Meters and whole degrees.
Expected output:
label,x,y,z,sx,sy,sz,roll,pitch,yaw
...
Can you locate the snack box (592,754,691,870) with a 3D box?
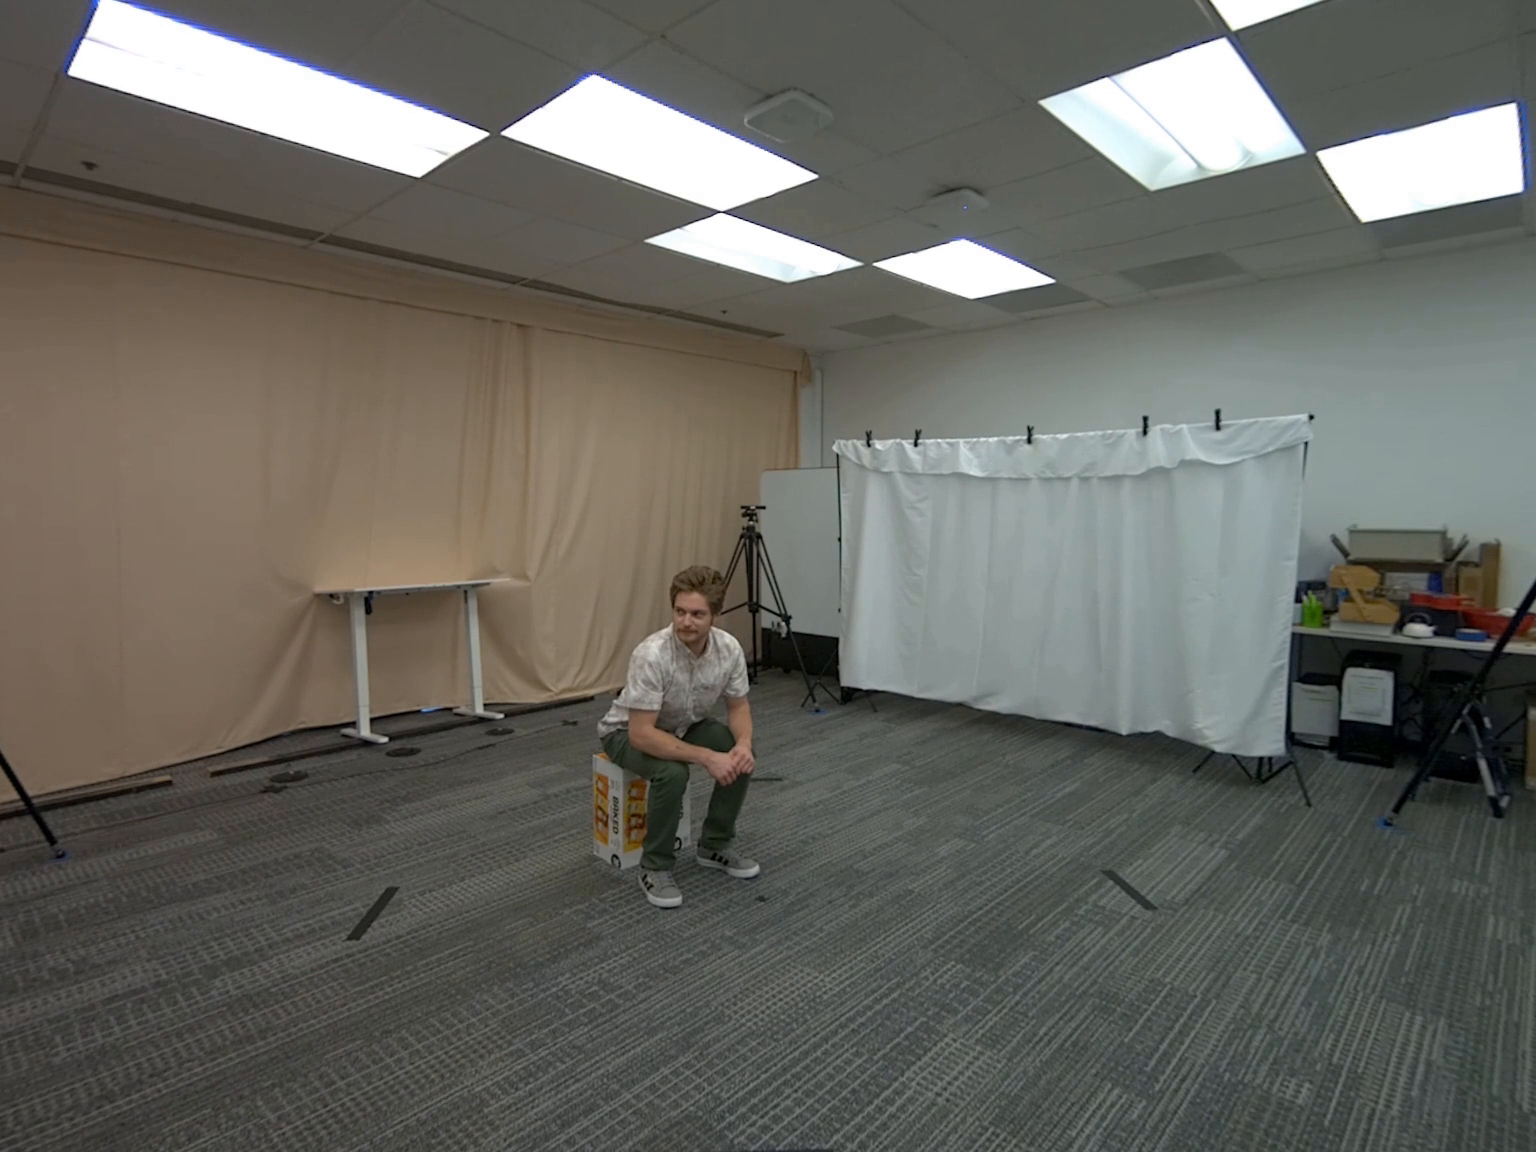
label,x,y,z,sx,sy,sz,roll,pitch,yaw
snack box,-0.512,0.913,3.407,0.330,0.404,0.213,-4,7,-44
